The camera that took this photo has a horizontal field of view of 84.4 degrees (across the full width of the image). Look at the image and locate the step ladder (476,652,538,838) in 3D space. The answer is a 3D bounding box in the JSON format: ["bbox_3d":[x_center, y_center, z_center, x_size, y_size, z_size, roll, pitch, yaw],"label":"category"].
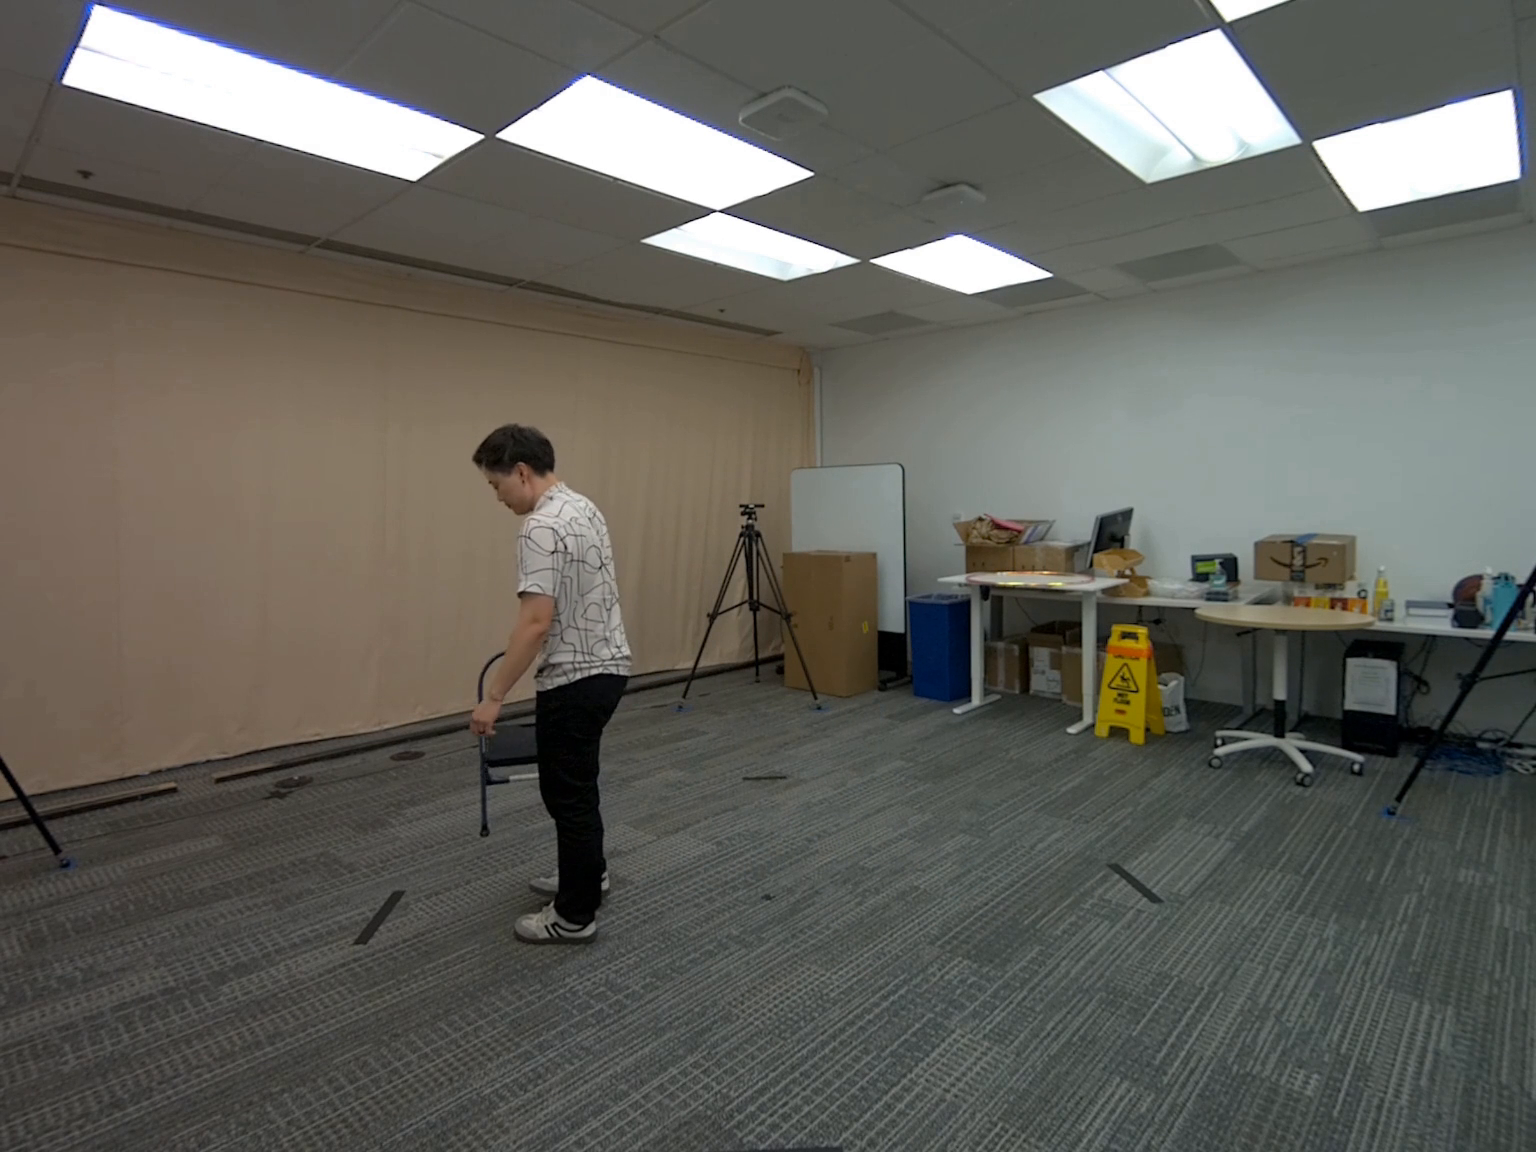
[{"bbox_3d":[-0.852,0.581,3.094,0.424,0.600,0.358,-3,18,-15],"label":"step ladder"}]
